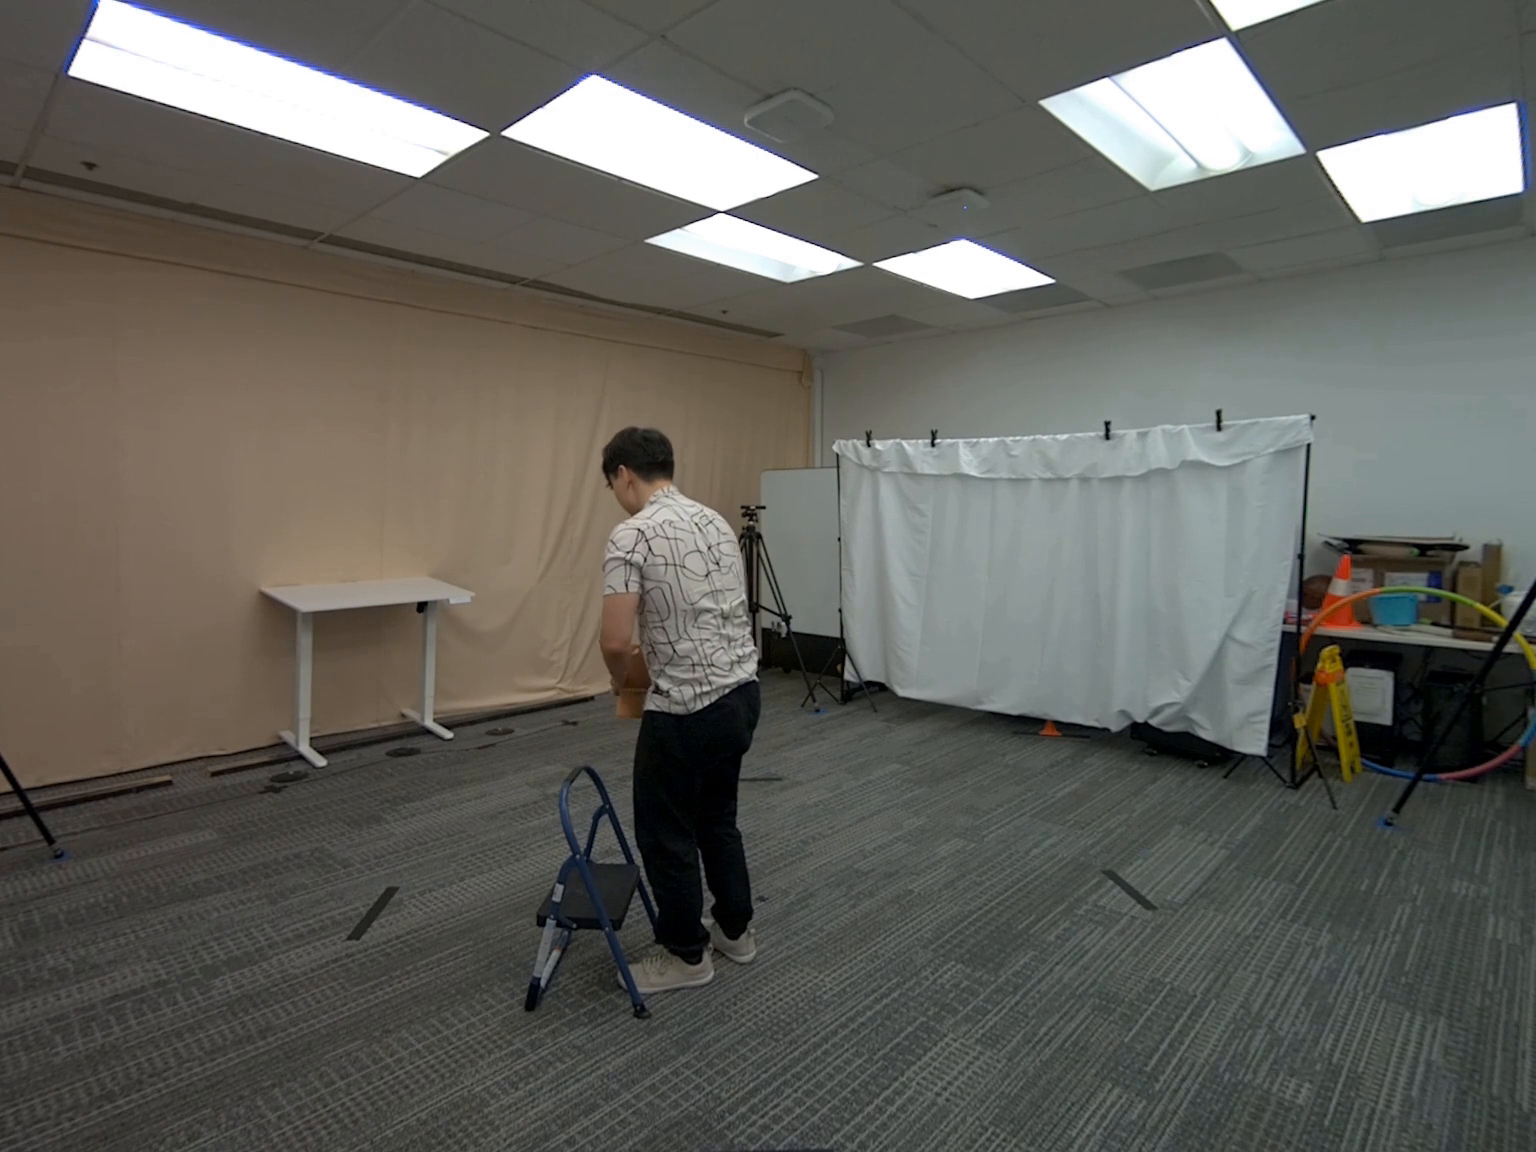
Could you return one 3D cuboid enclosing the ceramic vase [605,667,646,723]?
[{"bbox_3d":[-0.412,0.336,2.616,0.131,0.221,0.162,5,-10,-23],"label":"ceramic vase"}]
